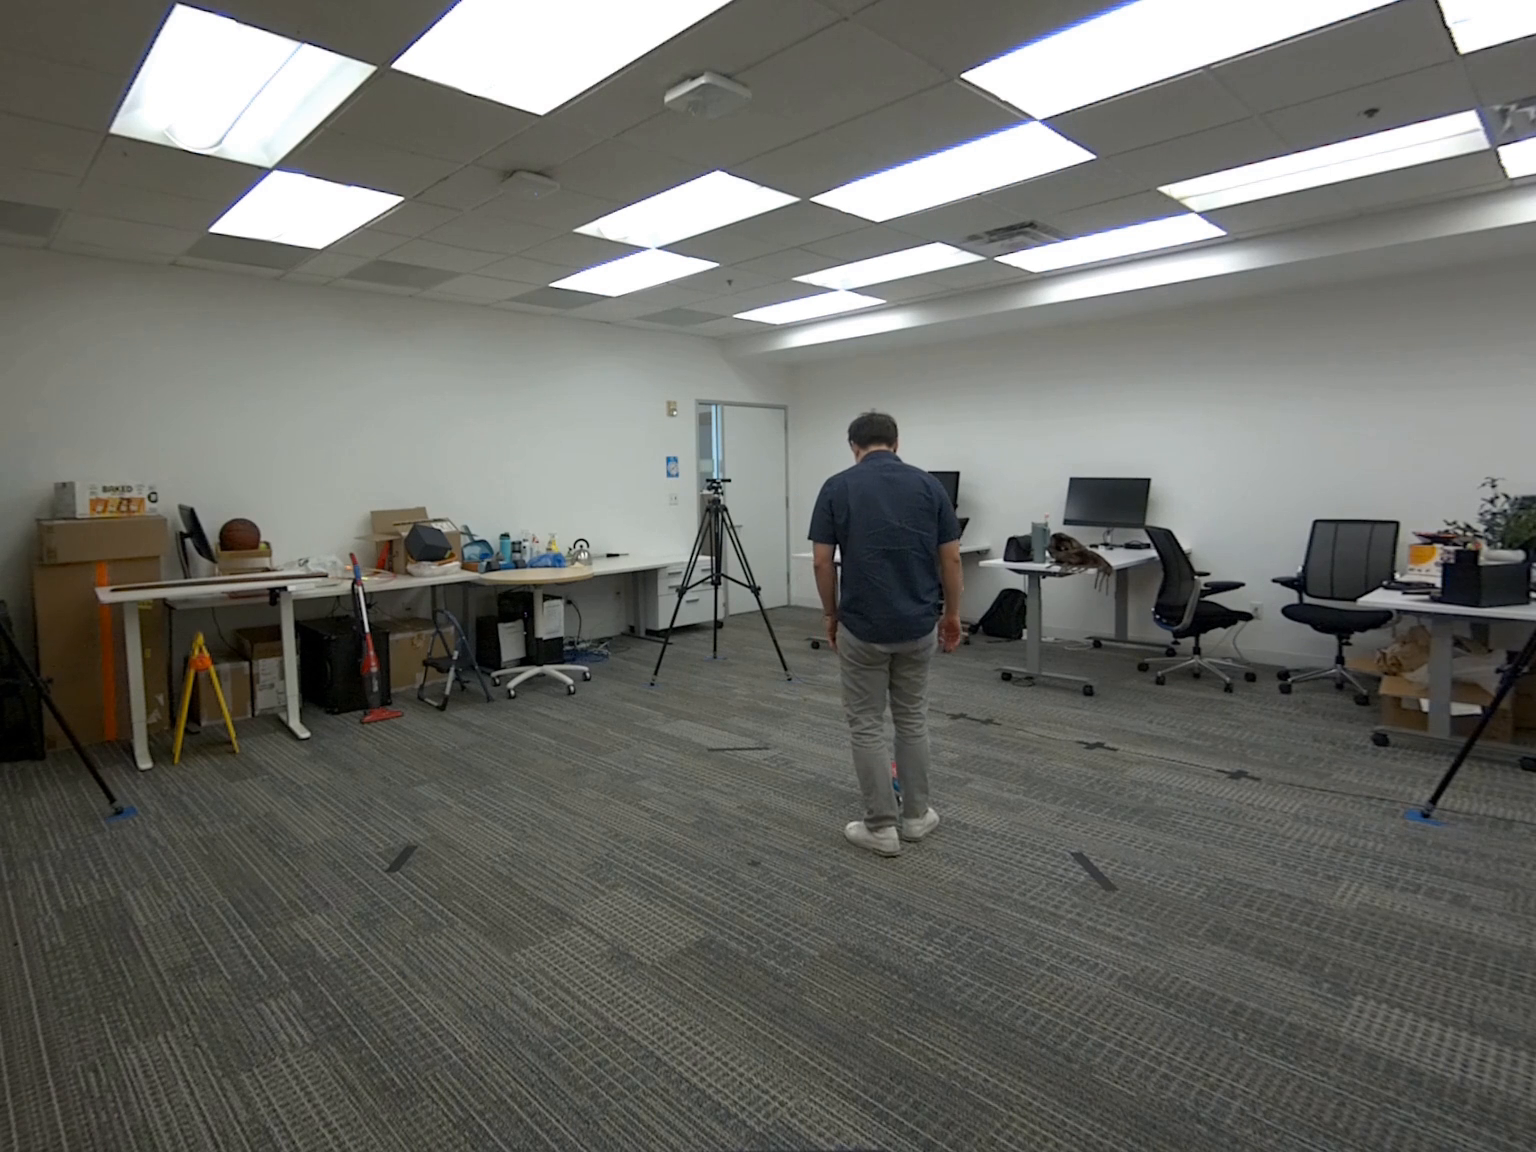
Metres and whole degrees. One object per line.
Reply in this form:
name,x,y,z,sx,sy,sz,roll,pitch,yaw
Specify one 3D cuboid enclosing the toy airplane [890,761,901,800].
toy airplane,0.569,0.902,3.660,0.266,0.156,0.245,1,5,31
